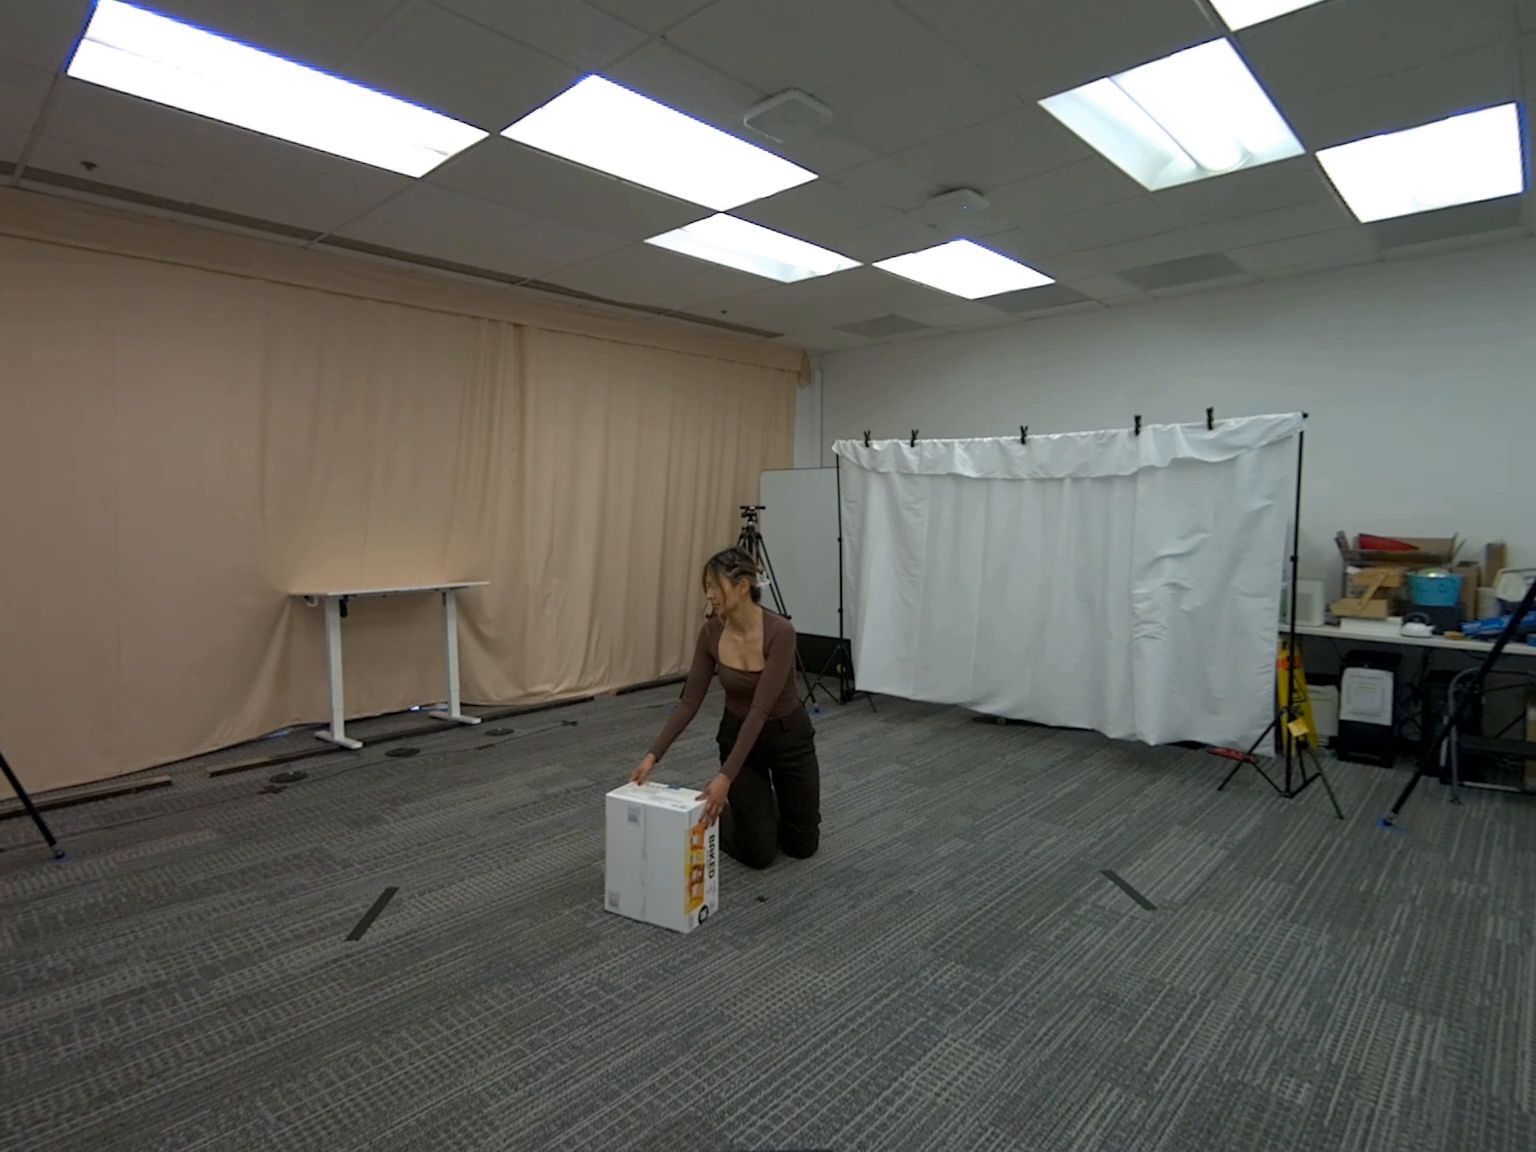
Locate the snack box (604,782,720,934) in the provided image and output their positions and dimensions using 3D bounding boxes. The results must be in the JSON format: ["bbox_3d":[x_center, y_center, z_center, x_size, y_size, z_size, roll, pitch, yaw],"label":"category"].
[{"bbox_3d":[-0.368,0.954,2.892,0.350,0.404,0.200,2,2,28],"label":"snack box"}]
